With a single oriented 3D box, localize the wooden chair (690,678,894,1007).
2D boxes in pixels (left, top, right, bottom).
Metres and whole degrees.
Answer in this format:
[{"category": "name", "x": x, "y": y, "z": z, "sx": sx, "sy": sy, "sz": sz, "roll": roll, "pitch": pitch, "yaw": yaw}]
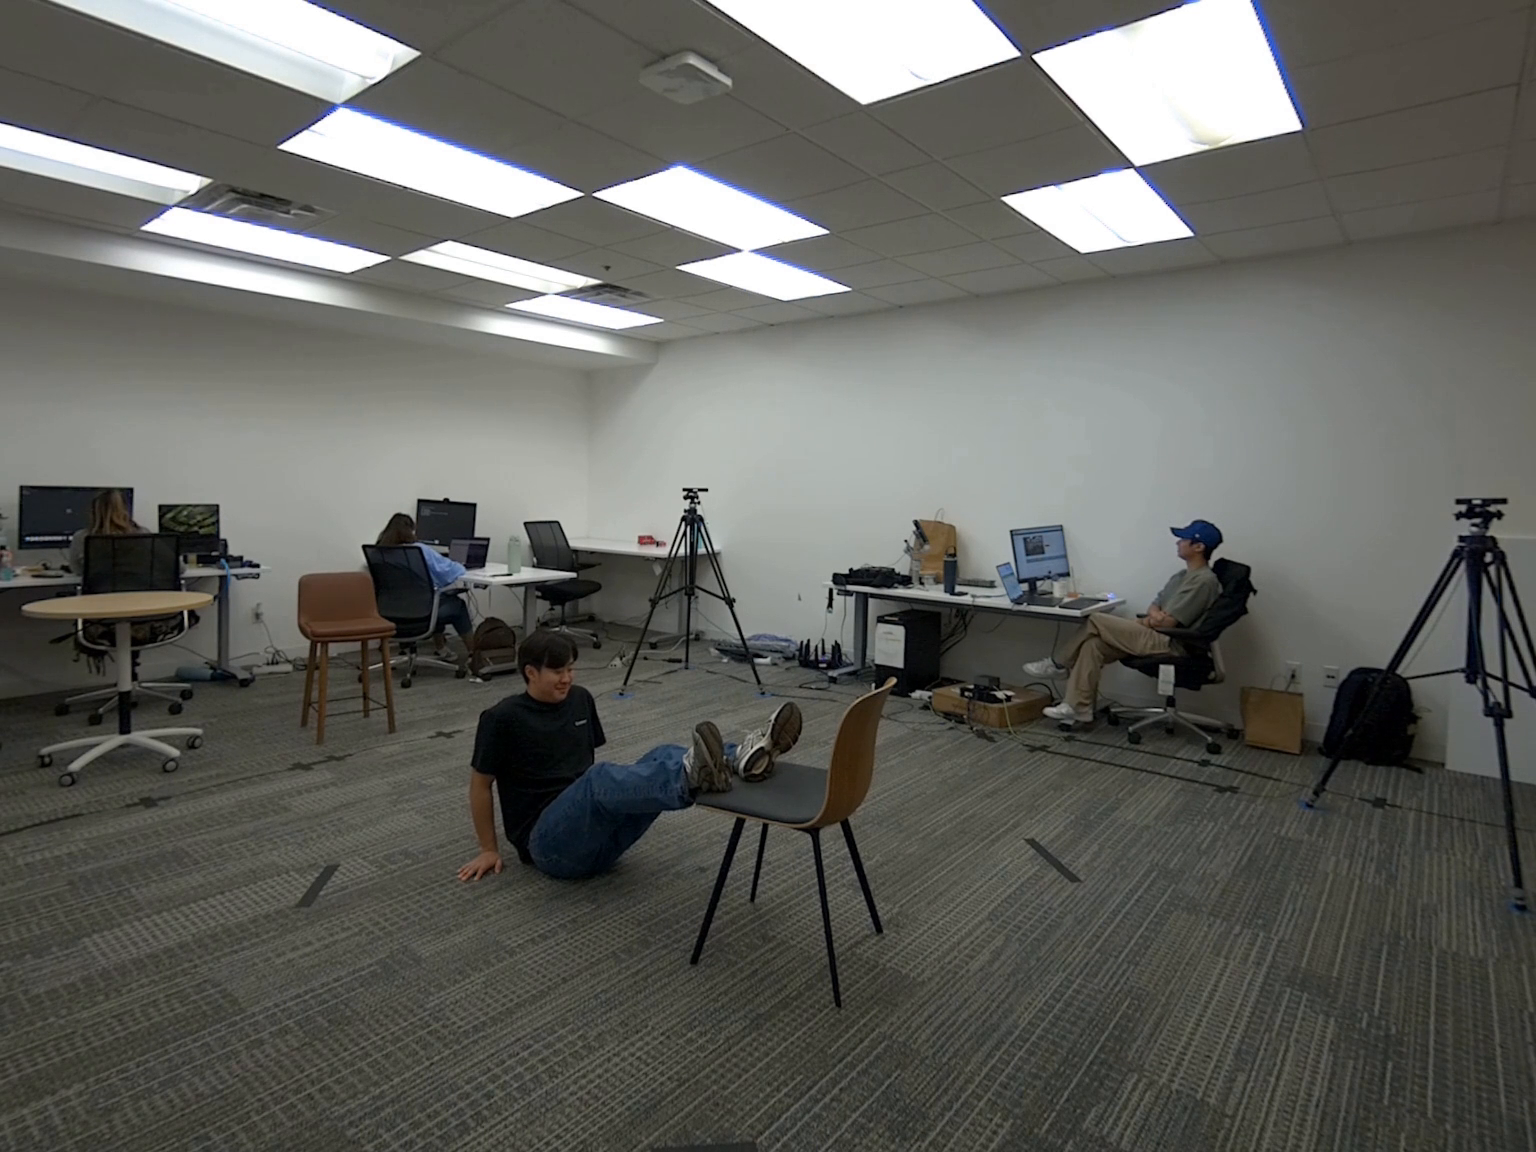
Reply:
[{"category": "wooden chair", "x": 0.067, "y": 0.701, "z": 2.564, "sx": 0.537, "sy": 0.874, "sz": 0.467, "roll": 7, "pitch": 5, "yaw": 24}]
